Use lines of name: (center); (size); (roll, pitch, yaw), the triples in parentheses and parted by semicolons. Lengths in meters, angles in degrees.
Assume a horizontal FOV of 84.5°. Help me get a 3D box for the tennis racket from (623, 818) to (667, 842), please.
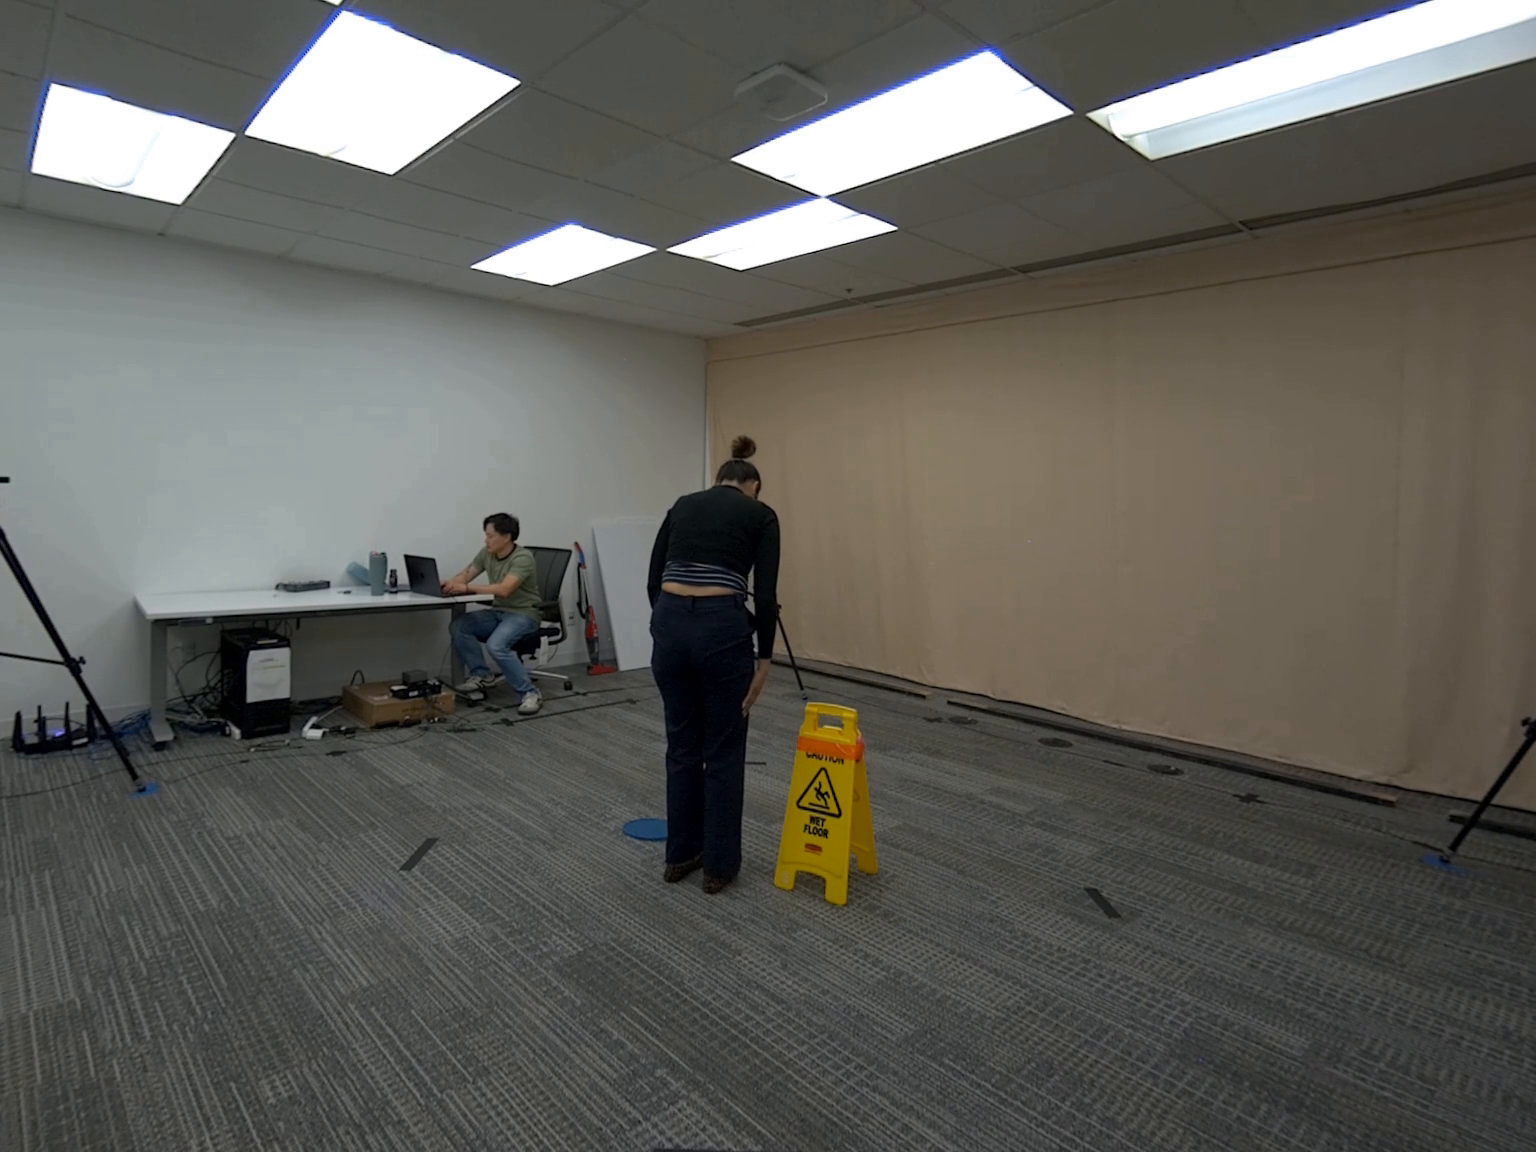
tennis racket: (-0.406, 1.052, 3.457); (0.441, 0.031, 0.210); (2, 6, 24)
